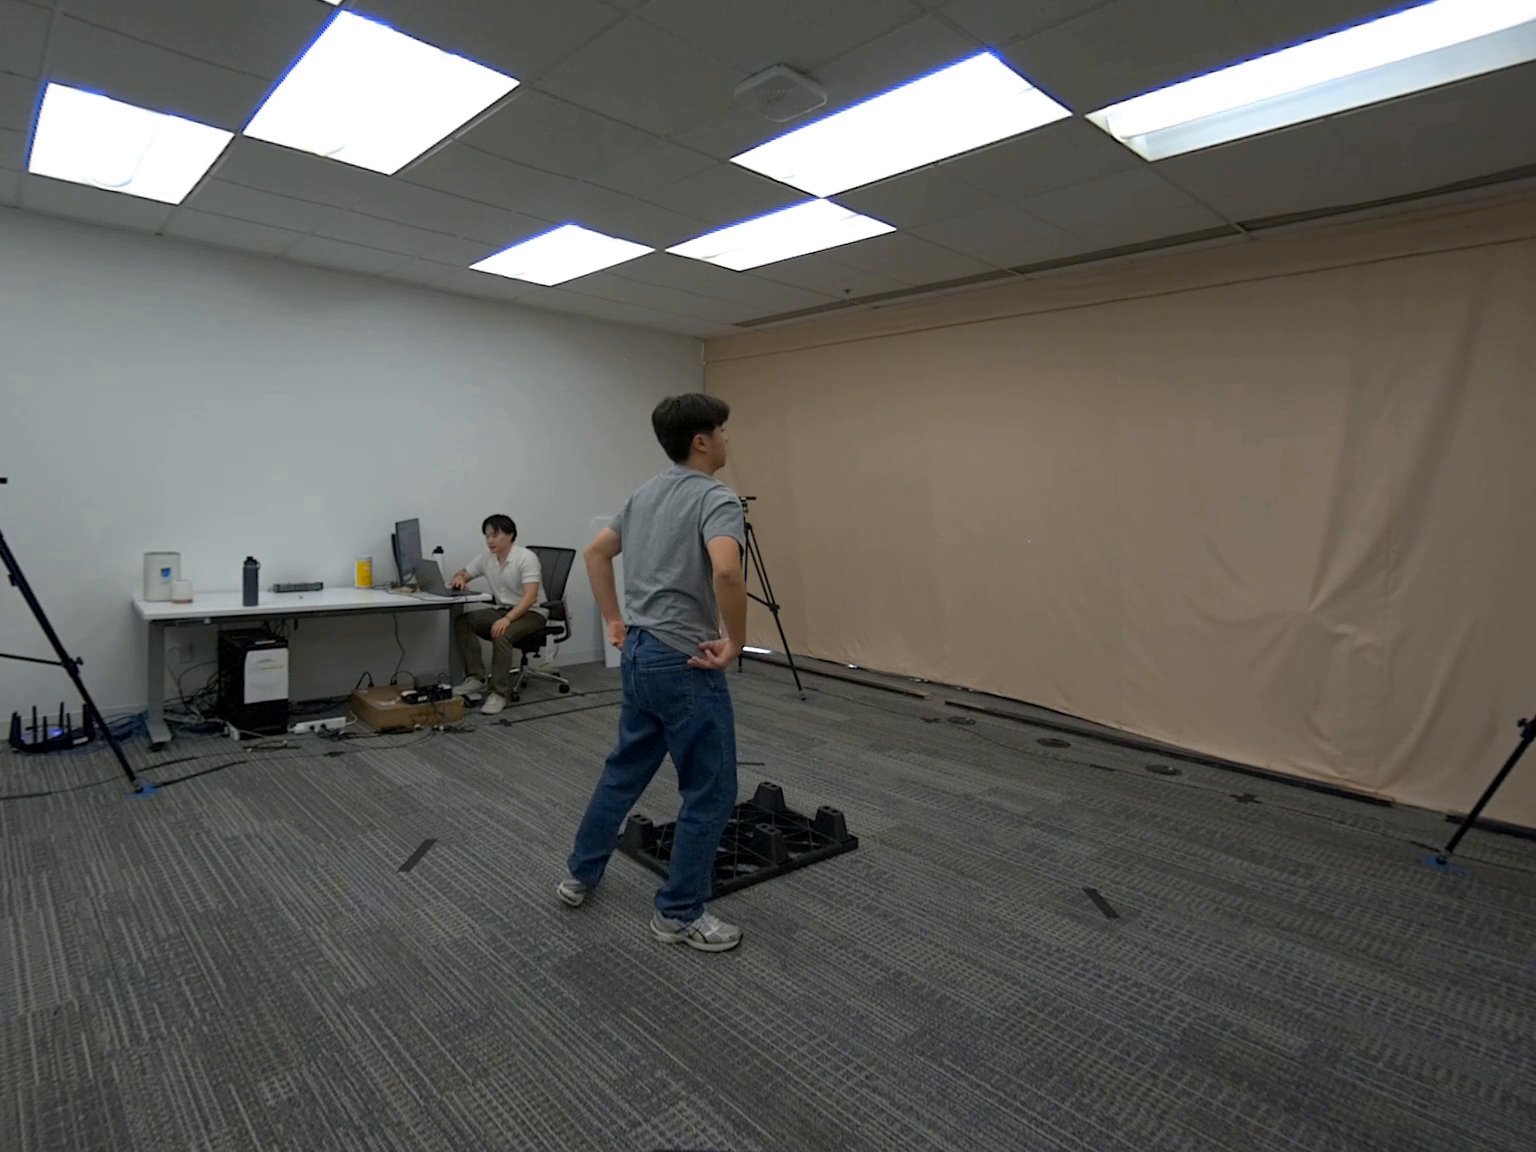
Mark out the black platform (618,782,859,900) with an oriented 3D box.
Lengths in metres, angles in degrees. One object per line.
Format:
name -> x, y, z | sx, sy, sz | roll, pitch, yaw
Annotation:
black platform -> -0.131, 1.018, 3.362 | 0.787, 0.143, 0.621 | -3, 7, -41
